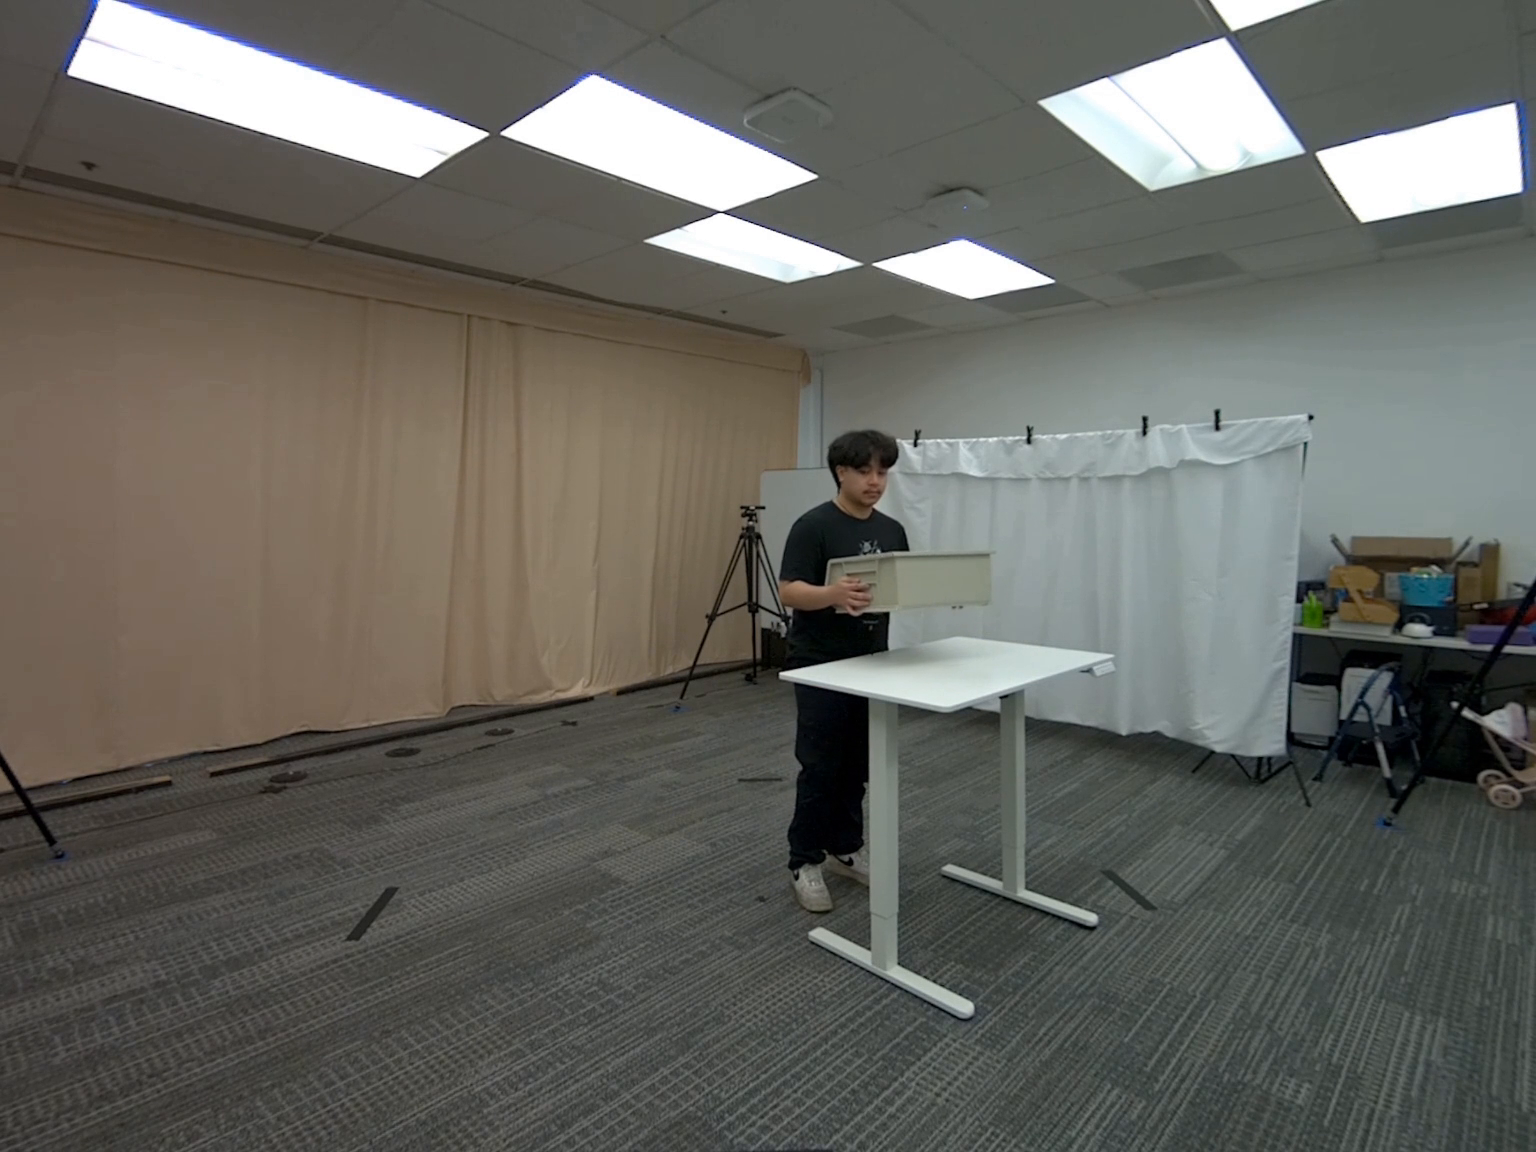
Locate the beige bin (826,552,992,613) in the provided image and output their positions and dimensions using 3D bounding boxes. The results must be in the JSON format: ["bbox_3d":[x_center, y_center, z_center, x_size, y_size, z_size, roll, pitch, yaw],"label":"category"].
[{"bbox_3d":[0.472,0.024,2.786,0.412,0.189,0.386,-1,-1,-27],"label":"beige bin"}]
